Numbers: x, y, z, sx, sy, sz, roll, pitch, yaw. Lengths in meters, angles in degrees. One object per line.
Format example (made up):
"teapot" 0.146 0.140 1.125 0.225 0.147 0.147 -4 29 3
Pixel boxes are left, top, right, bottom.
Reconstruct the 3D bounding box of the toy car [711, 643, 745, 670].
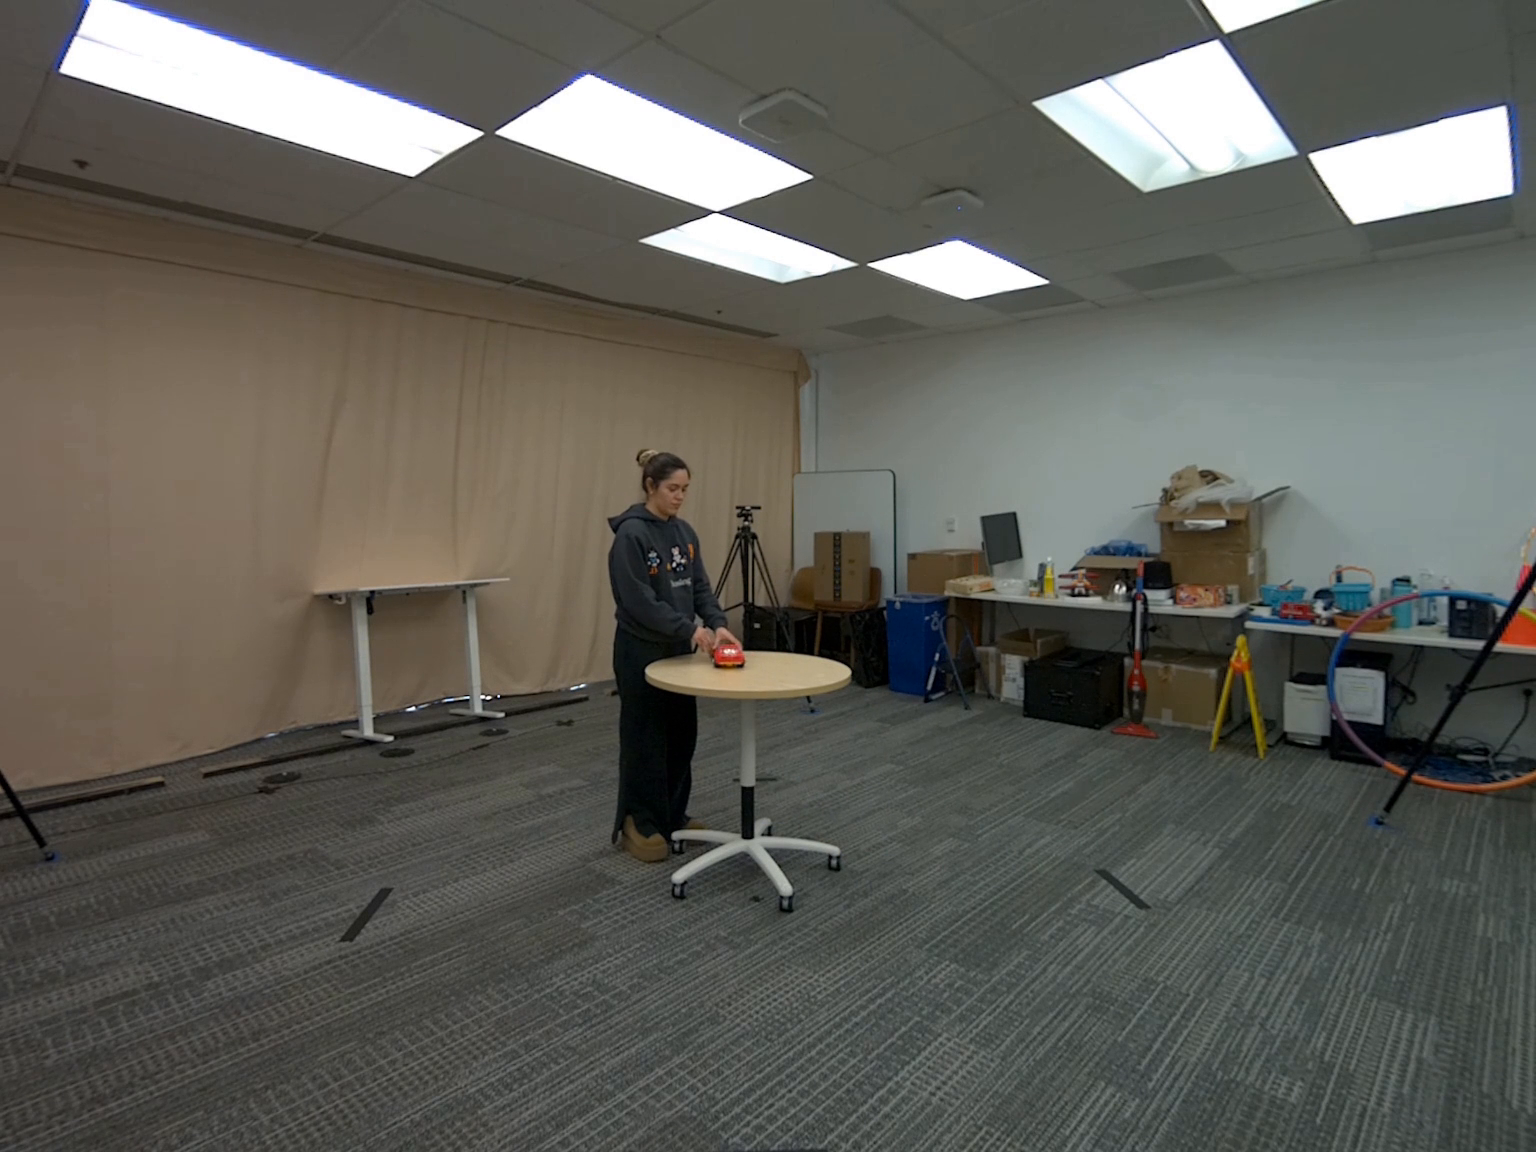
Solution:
"toy car" -0.138 0.306 3.227 0.129 0.083 0.255 -1 -5 -6
